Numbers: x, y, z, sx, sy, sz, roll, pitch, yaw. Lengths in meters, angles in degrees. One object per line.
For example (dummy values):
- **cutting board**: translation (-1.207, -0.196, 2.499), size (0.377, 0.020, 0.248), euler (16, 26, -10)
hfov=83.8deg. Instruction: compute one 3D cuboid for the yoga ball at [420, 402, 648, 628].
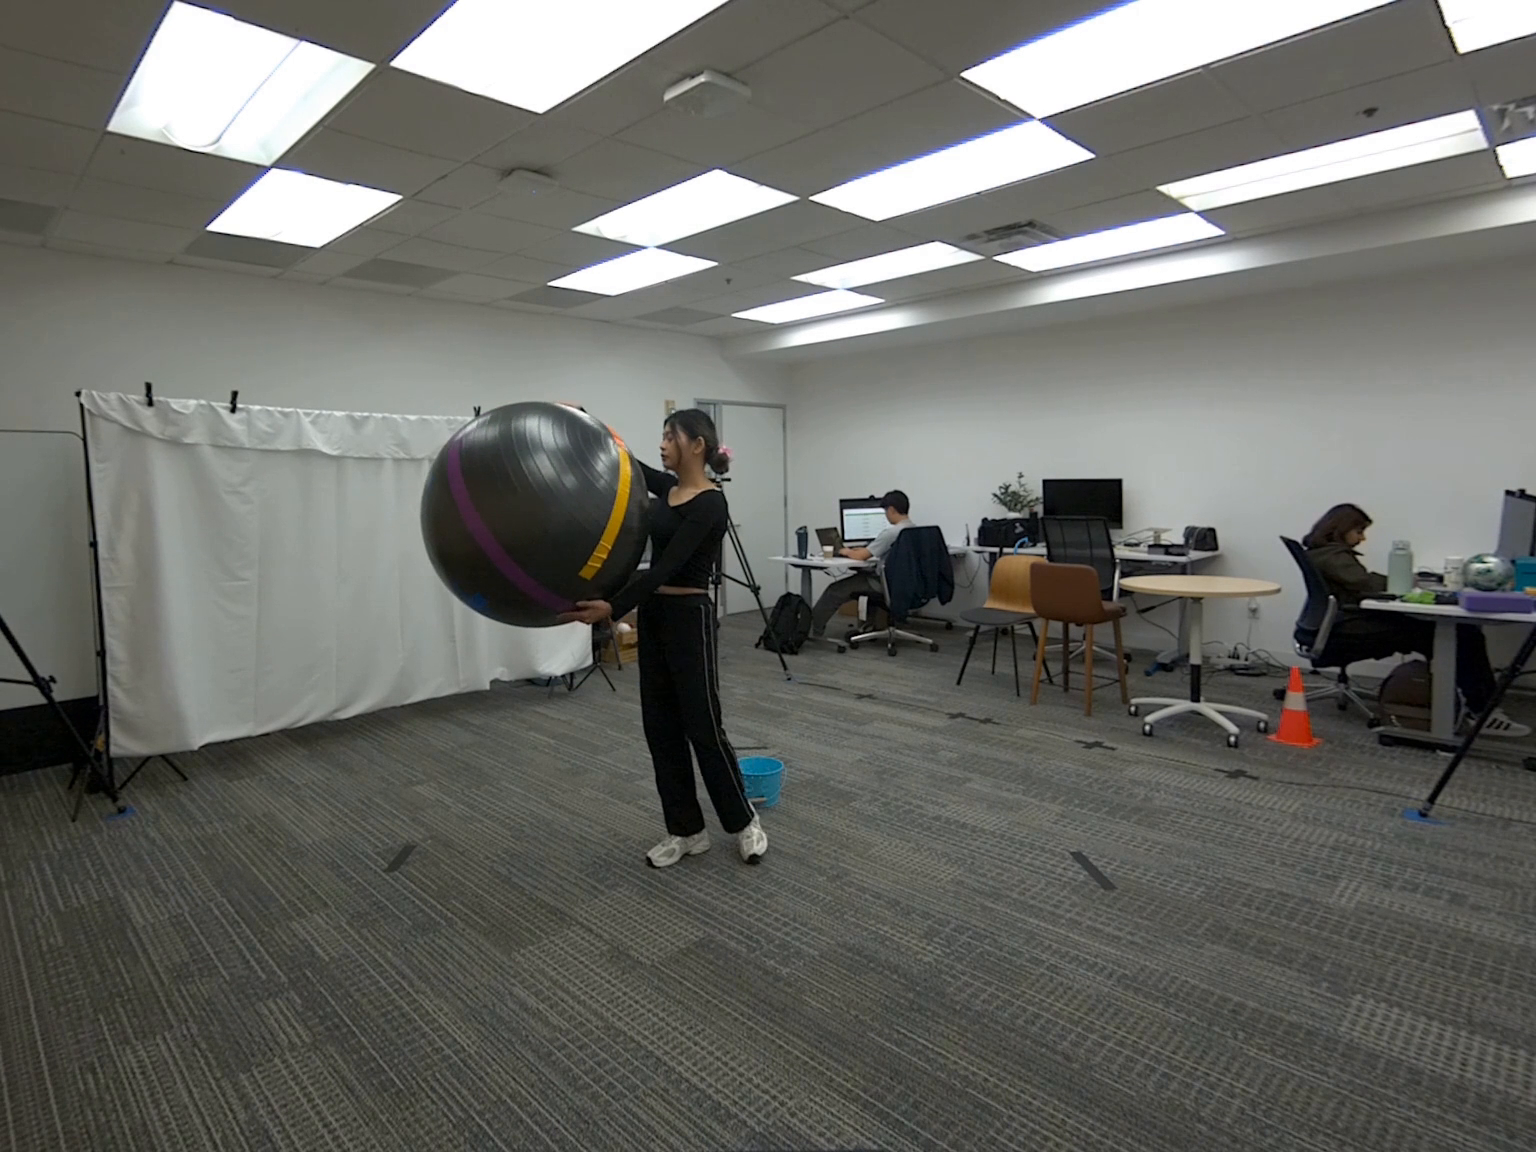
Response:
- **yoga ball**: translation (-0.773, -0.204, 2.884), size (0.757, 0.755, 0.762), euler (-1, 5, -2)
